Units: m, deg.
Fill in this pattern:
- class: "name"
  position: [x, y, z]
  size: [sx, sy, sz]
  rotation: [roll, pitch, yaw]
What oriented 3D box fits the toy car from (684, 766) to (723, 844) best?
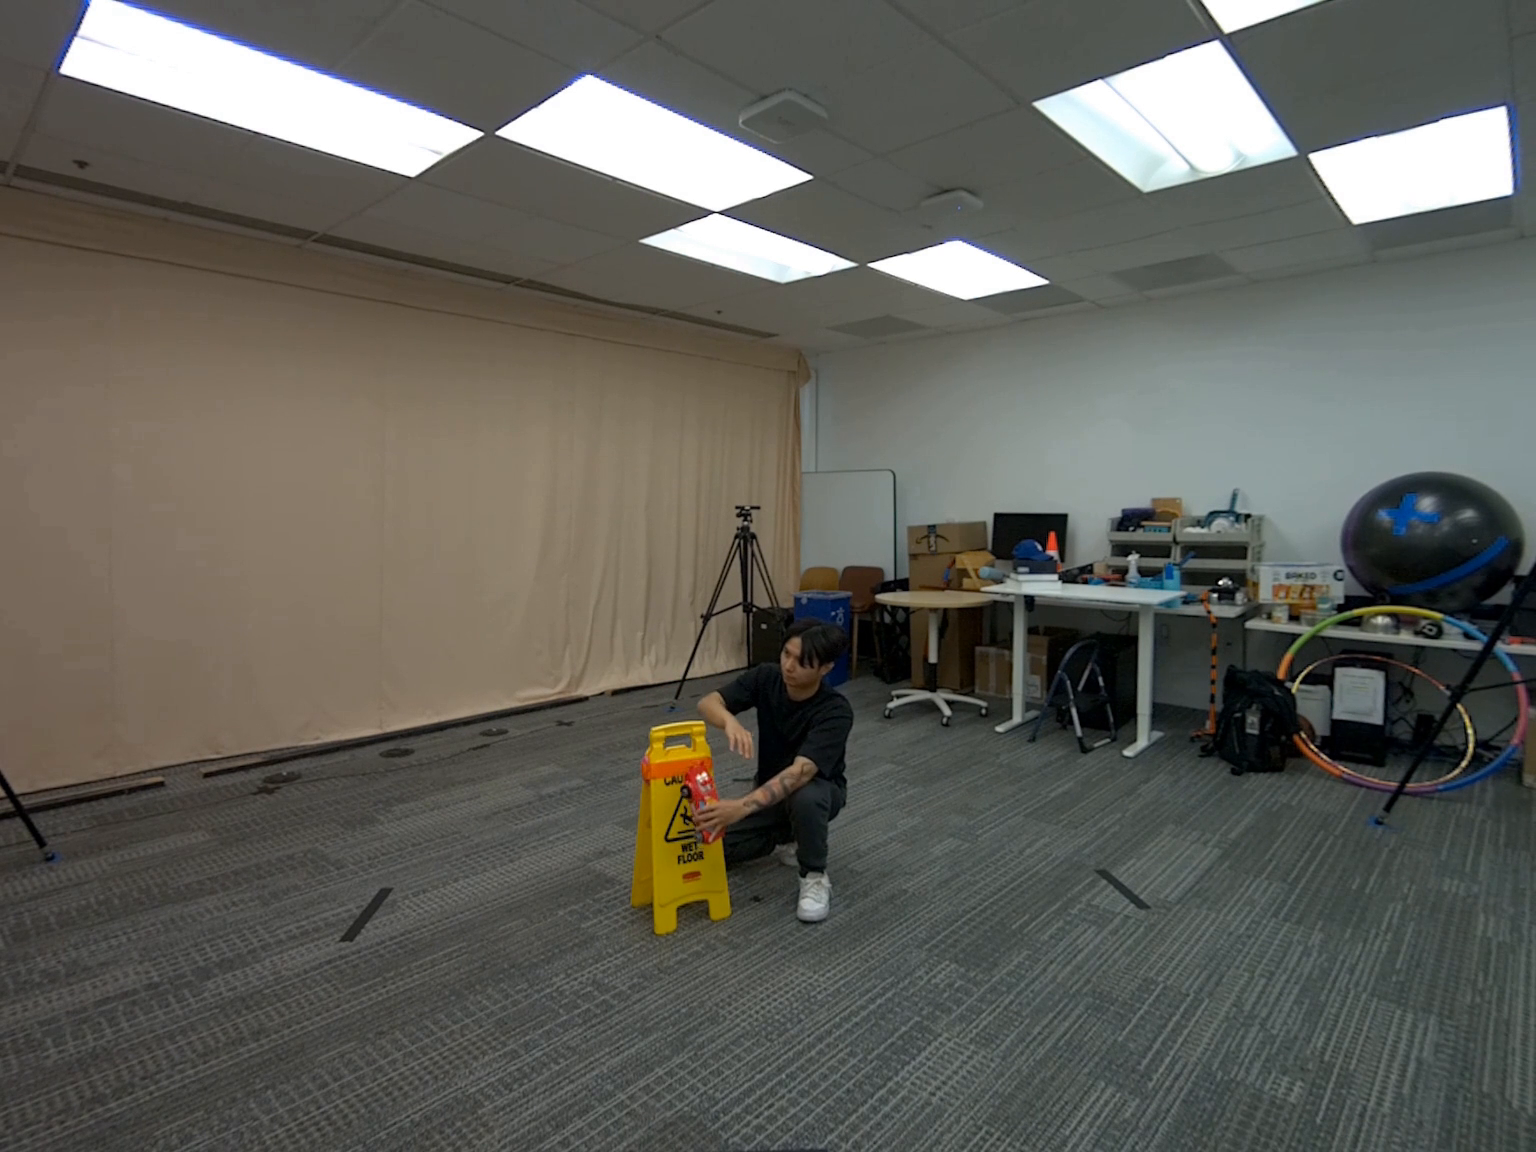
- class: "toy car"
  position: [-0.207, 0.725, 2.731]
  size: [0.086, 0.254, 0.127]
  rotation: [-5, 5, 38]
